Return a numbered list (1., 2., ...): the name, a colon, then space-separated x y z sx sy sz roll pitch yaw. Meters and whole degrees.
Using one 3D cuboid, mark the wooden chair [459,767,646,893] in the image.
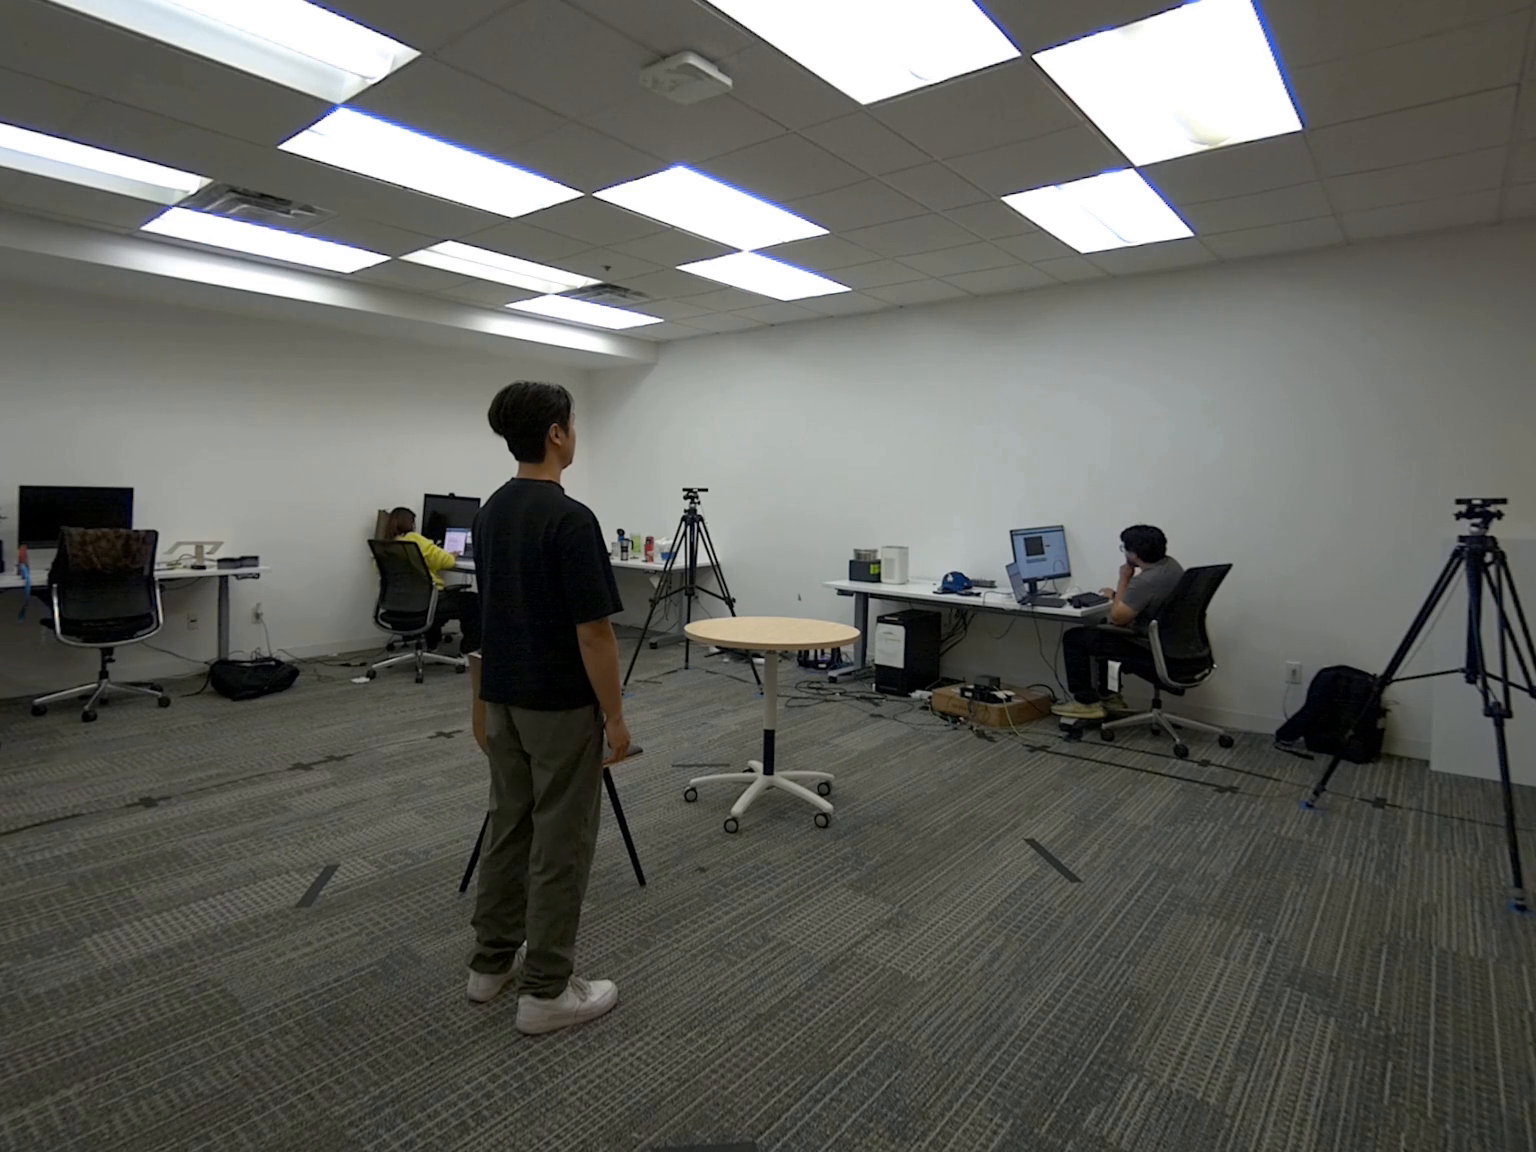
1. wooden chair: -0.736 0.649 2.915 0.494 0.872 0.510 3 8 37
